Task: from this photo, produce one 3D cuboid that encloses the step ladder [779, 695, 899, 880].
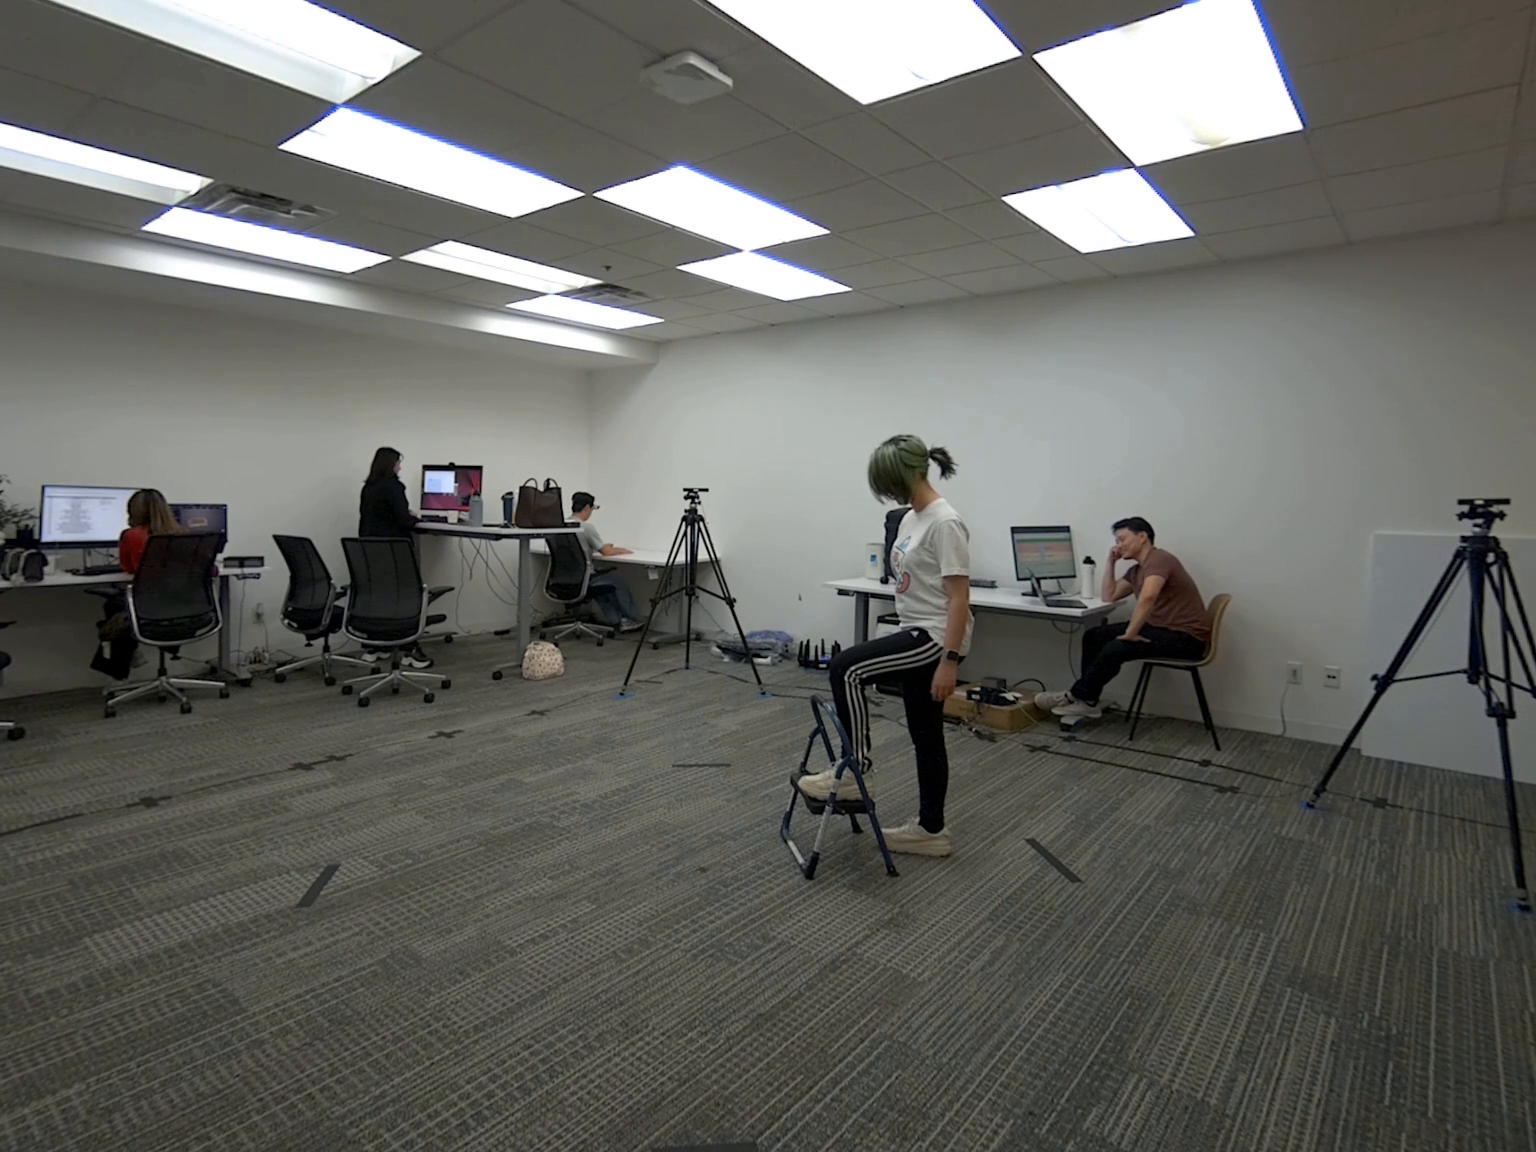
[{"bbox_3d":[0.259,0.768,3.258,0.345,0.604,0.437,1,3,-12],"label":"step ladder"}]
